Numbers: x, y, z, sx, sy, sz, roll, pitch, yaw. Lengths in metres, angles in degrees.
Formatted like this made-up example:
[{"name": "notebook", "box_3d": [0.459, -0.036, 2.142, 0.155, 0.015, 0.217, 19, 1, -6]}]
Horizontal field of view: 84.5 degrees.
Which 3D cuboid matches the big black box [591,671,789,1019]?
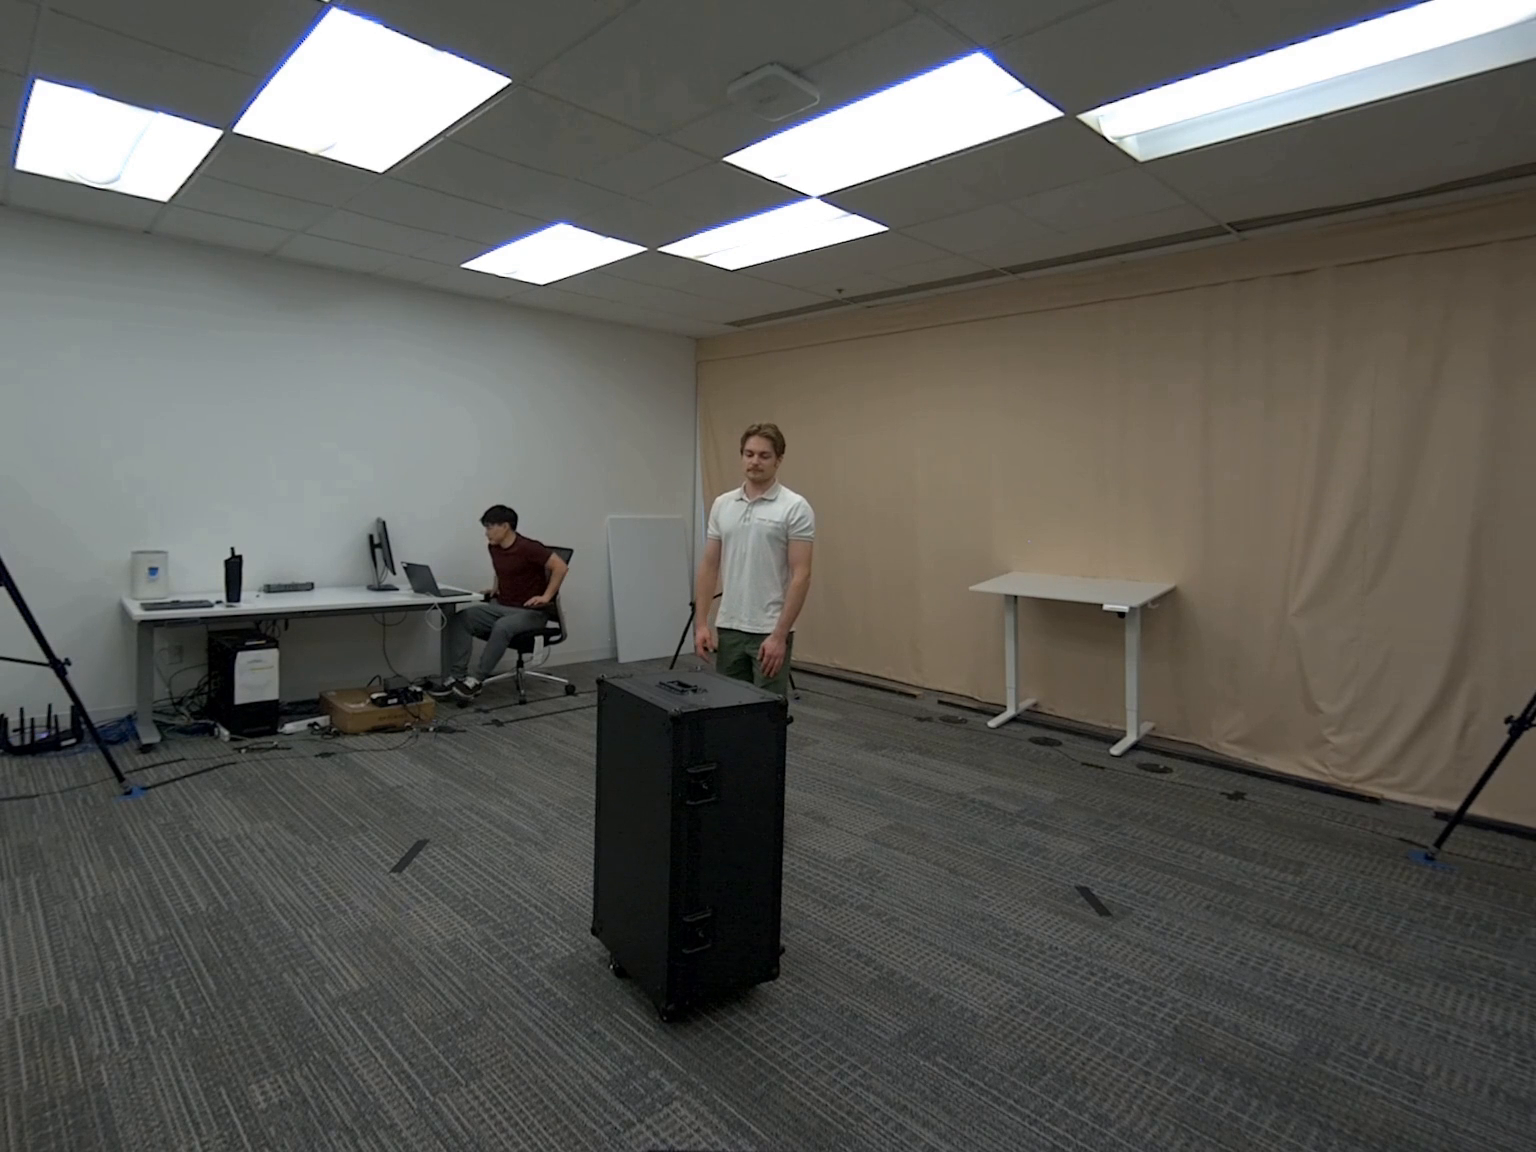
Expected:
[{"name": "big black box", "box_3d": [-0.247, 0.745, 2.412, 0.377, 0.867, 0.536, 0, 3, -34]}]
